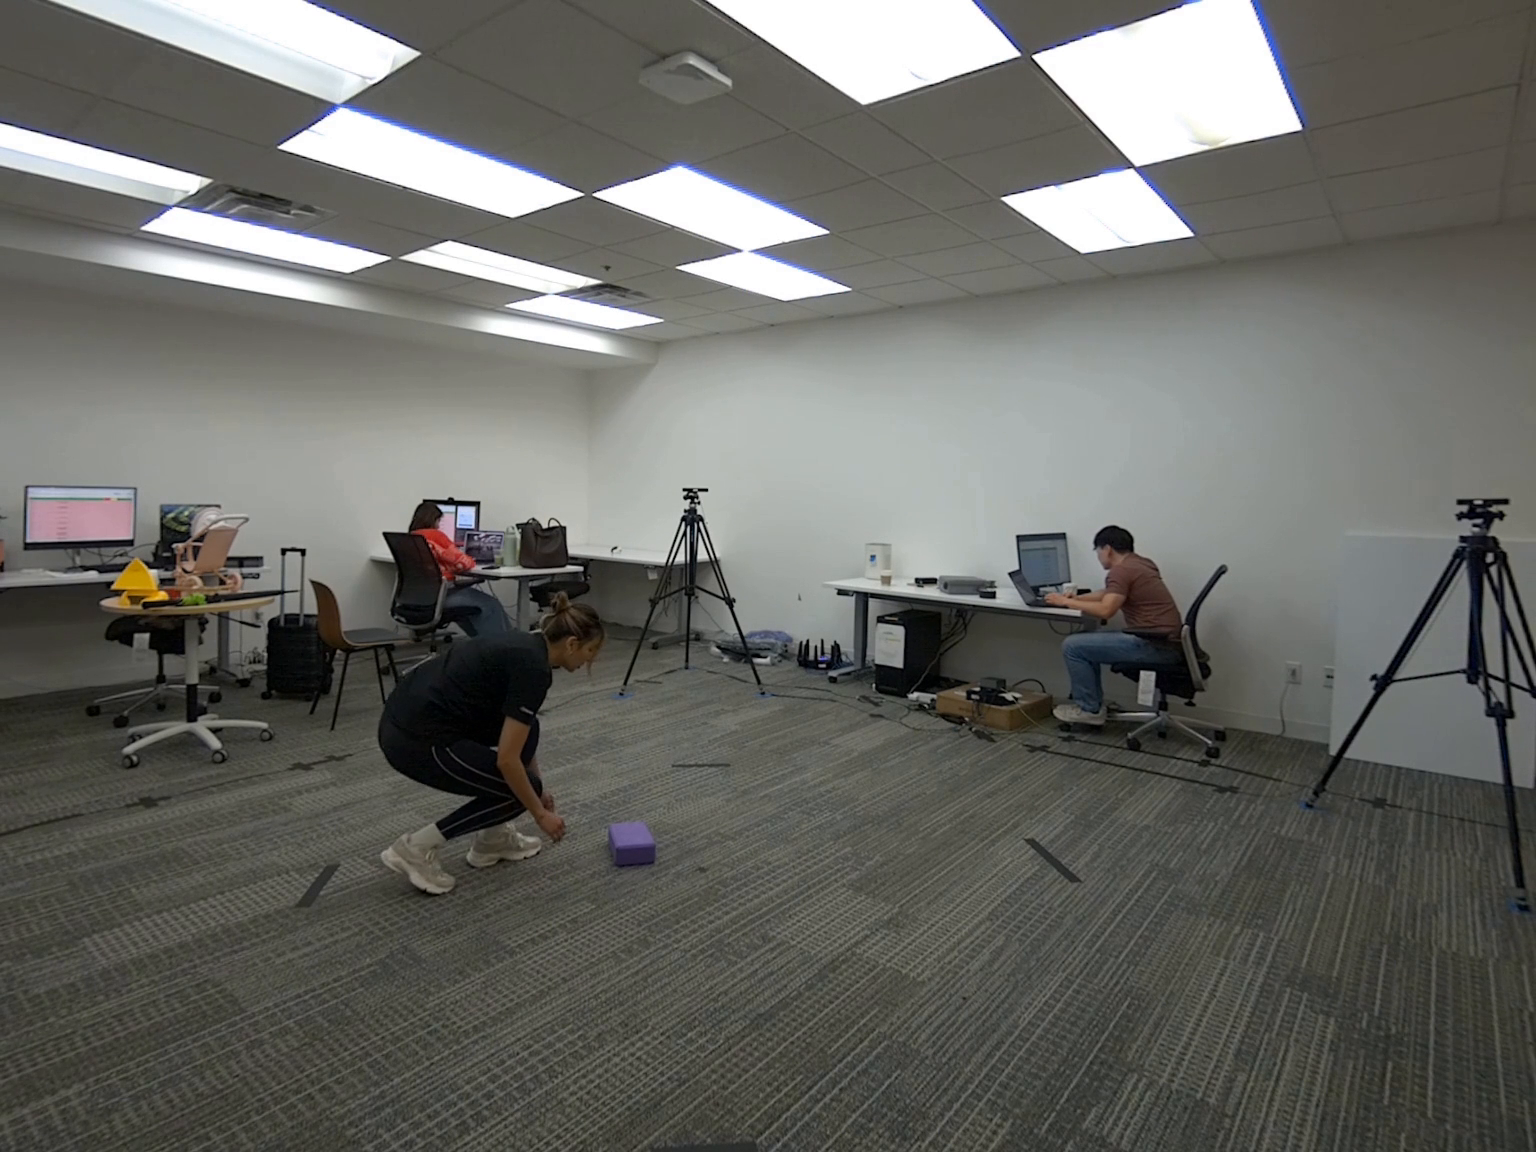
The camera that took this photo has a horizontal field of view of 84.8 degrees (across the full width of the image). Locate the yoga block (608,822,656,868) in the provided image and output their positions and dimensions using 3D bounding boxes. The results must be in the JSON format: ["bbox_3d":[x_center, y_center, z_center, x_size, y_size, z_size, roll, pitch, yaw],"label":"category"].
[{"bbox_3d":[-0.531,1.014,3.229,0.146,0.076,0.234,0,5,-17],"label":"yoga block"}]
